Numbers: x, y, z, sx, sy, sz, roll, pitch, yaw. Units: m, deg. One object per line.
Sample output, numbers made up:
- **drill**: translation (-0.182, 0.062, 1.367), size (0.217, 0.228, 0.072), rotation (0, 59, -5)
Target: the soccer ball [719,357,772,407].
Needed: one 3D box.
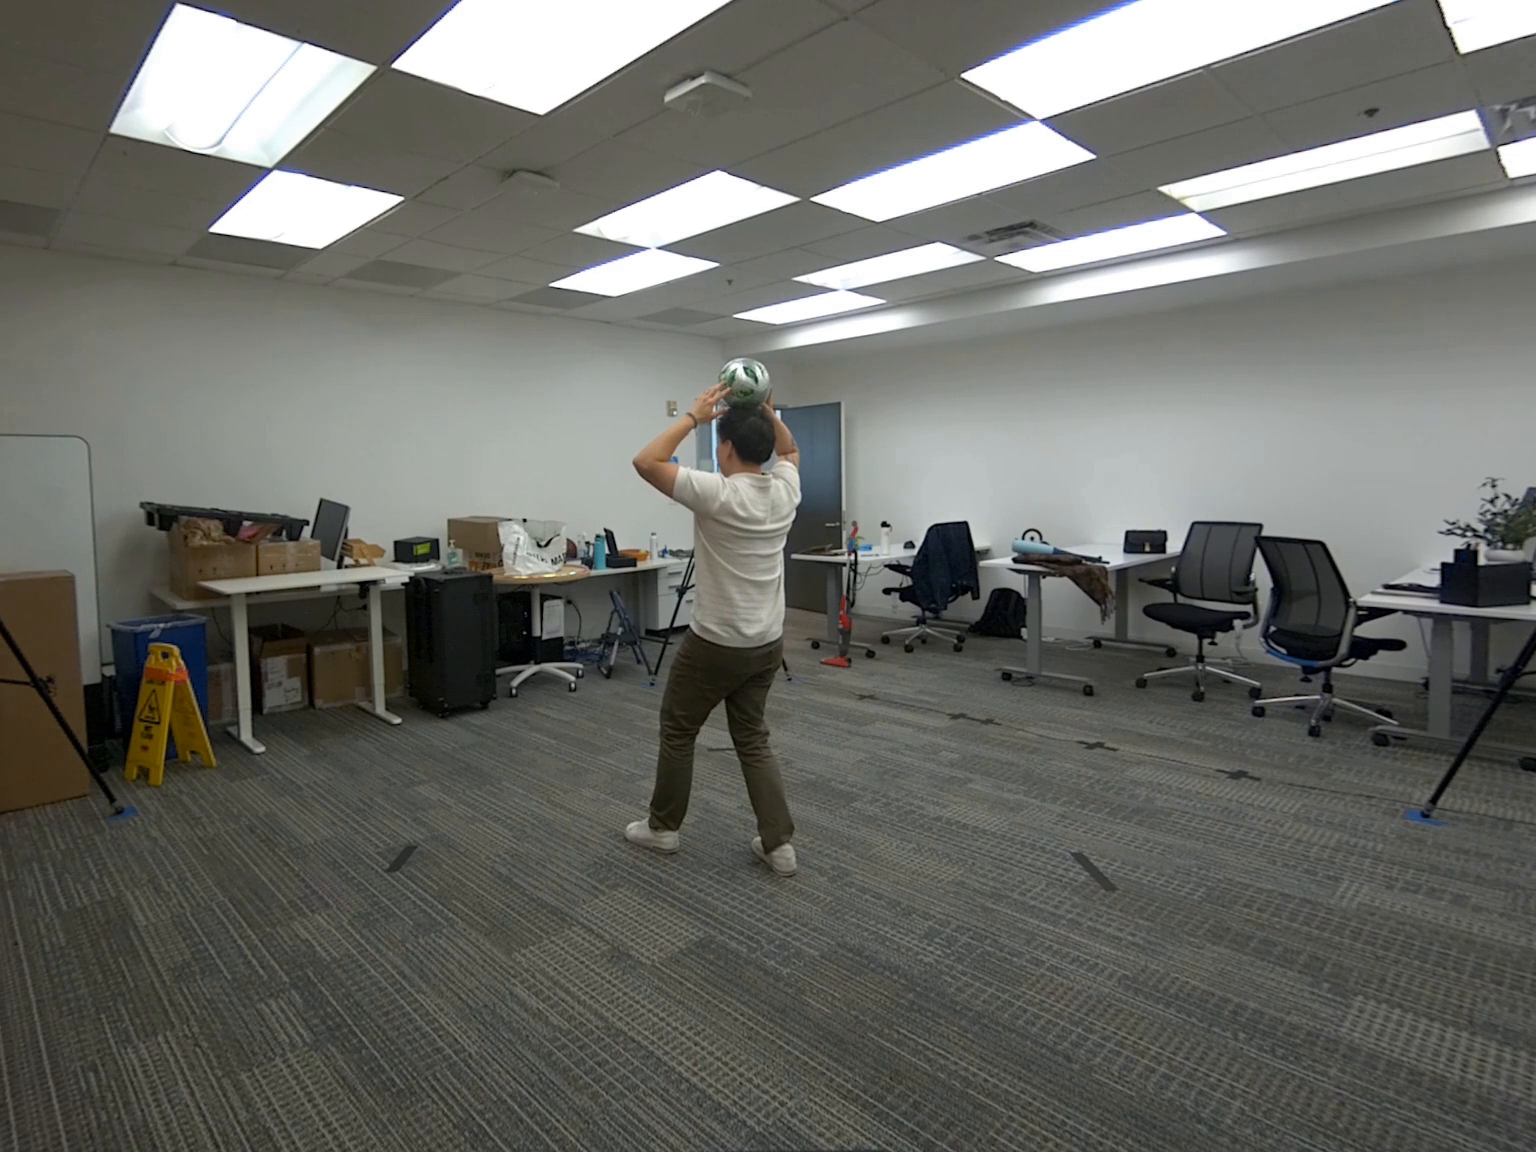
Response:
- **soccer ball**: translation (-0.079, -0.670, 3.020), size (0.187, 0.187, 0.188), rotation (-1, 5, -2)
